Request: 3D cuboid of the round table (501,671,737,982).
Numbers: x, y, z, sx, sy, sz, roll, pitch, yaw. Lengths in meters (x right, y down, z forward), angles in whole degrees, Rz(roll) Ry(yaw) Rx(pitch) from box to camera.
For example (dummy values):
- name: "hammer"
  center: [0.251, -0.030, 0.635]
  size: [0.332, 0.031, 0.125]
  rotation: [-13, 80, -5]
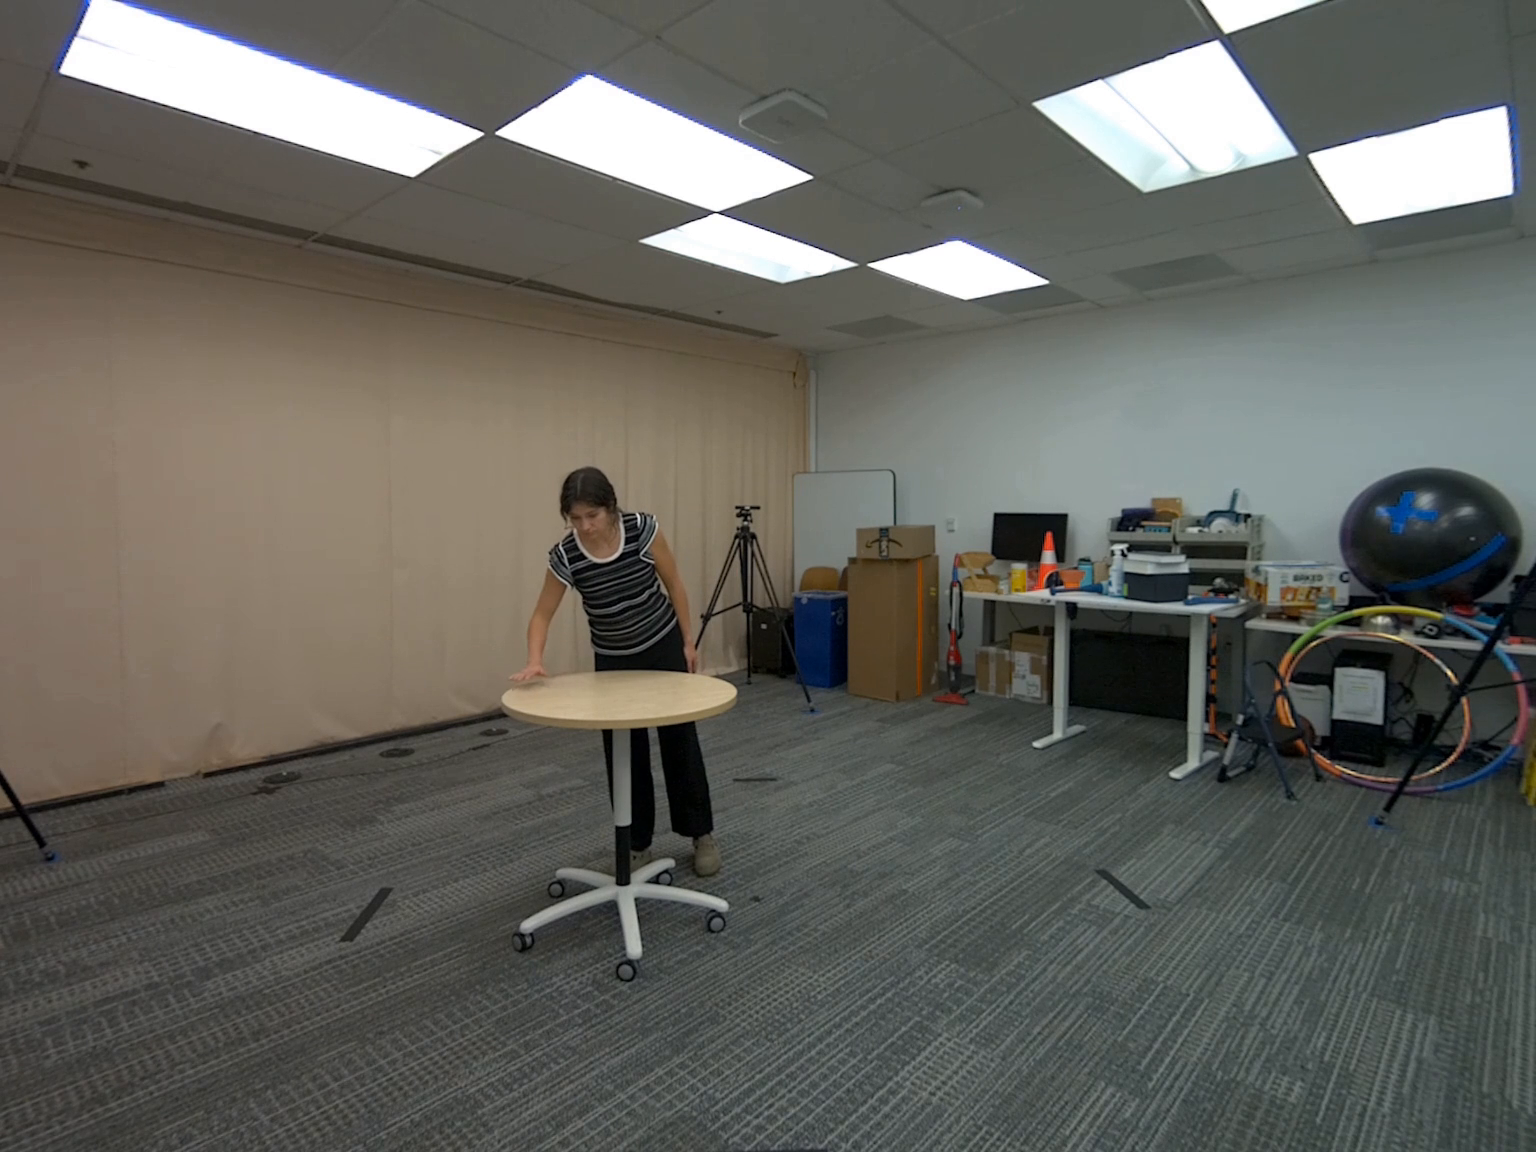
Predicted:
- name: "round table"
  center: [-0.484, 0.773, 2.784]
  size: [0.763, 0.792, 0.766]
  rotation: [-1, 3, -2]
